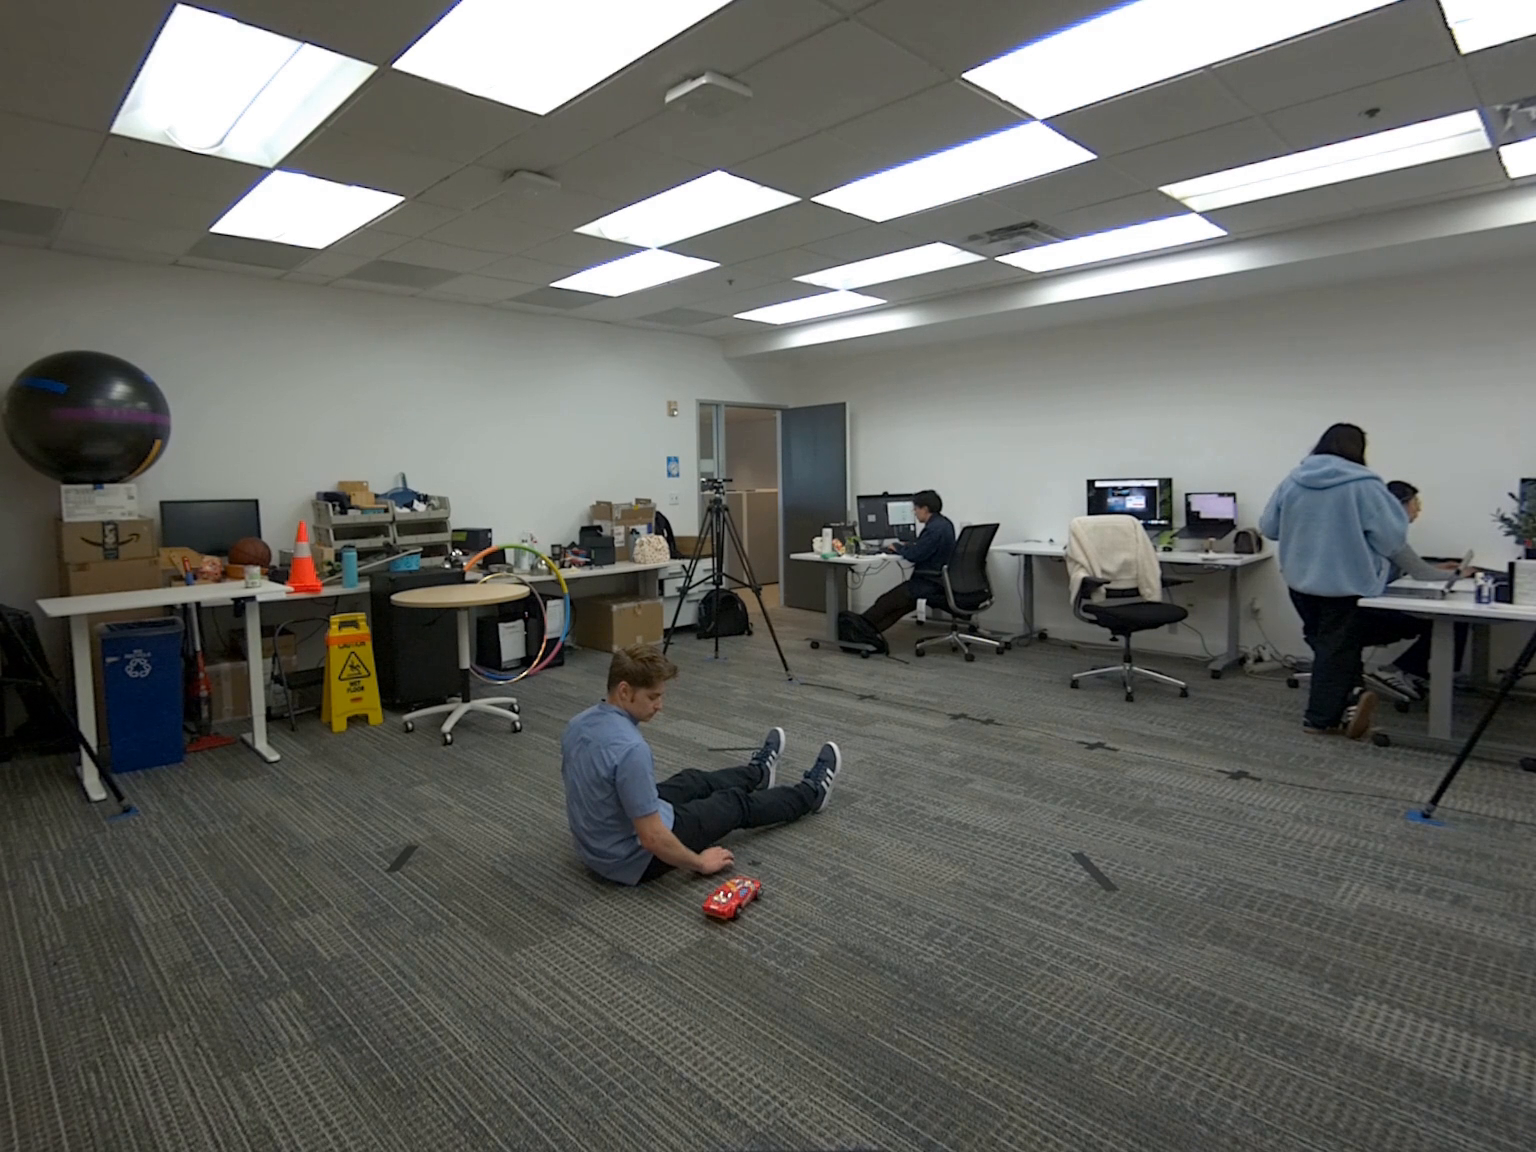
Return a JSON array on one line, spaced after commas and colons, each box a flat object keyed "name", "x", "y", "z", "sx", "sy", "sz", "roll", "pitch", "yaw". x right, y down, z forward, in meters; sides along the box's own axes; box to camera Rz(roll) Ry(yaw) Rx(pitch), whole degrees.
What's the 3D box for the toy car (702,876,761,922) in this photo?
[{"name": "toy car", "x": -0.116, "y": 1.056, "z": 2.774, "sx": 0.134, "sy": 0.083, "sz": 0.247, "roll": 4, "pitch": -4, "yaw": 31}]
